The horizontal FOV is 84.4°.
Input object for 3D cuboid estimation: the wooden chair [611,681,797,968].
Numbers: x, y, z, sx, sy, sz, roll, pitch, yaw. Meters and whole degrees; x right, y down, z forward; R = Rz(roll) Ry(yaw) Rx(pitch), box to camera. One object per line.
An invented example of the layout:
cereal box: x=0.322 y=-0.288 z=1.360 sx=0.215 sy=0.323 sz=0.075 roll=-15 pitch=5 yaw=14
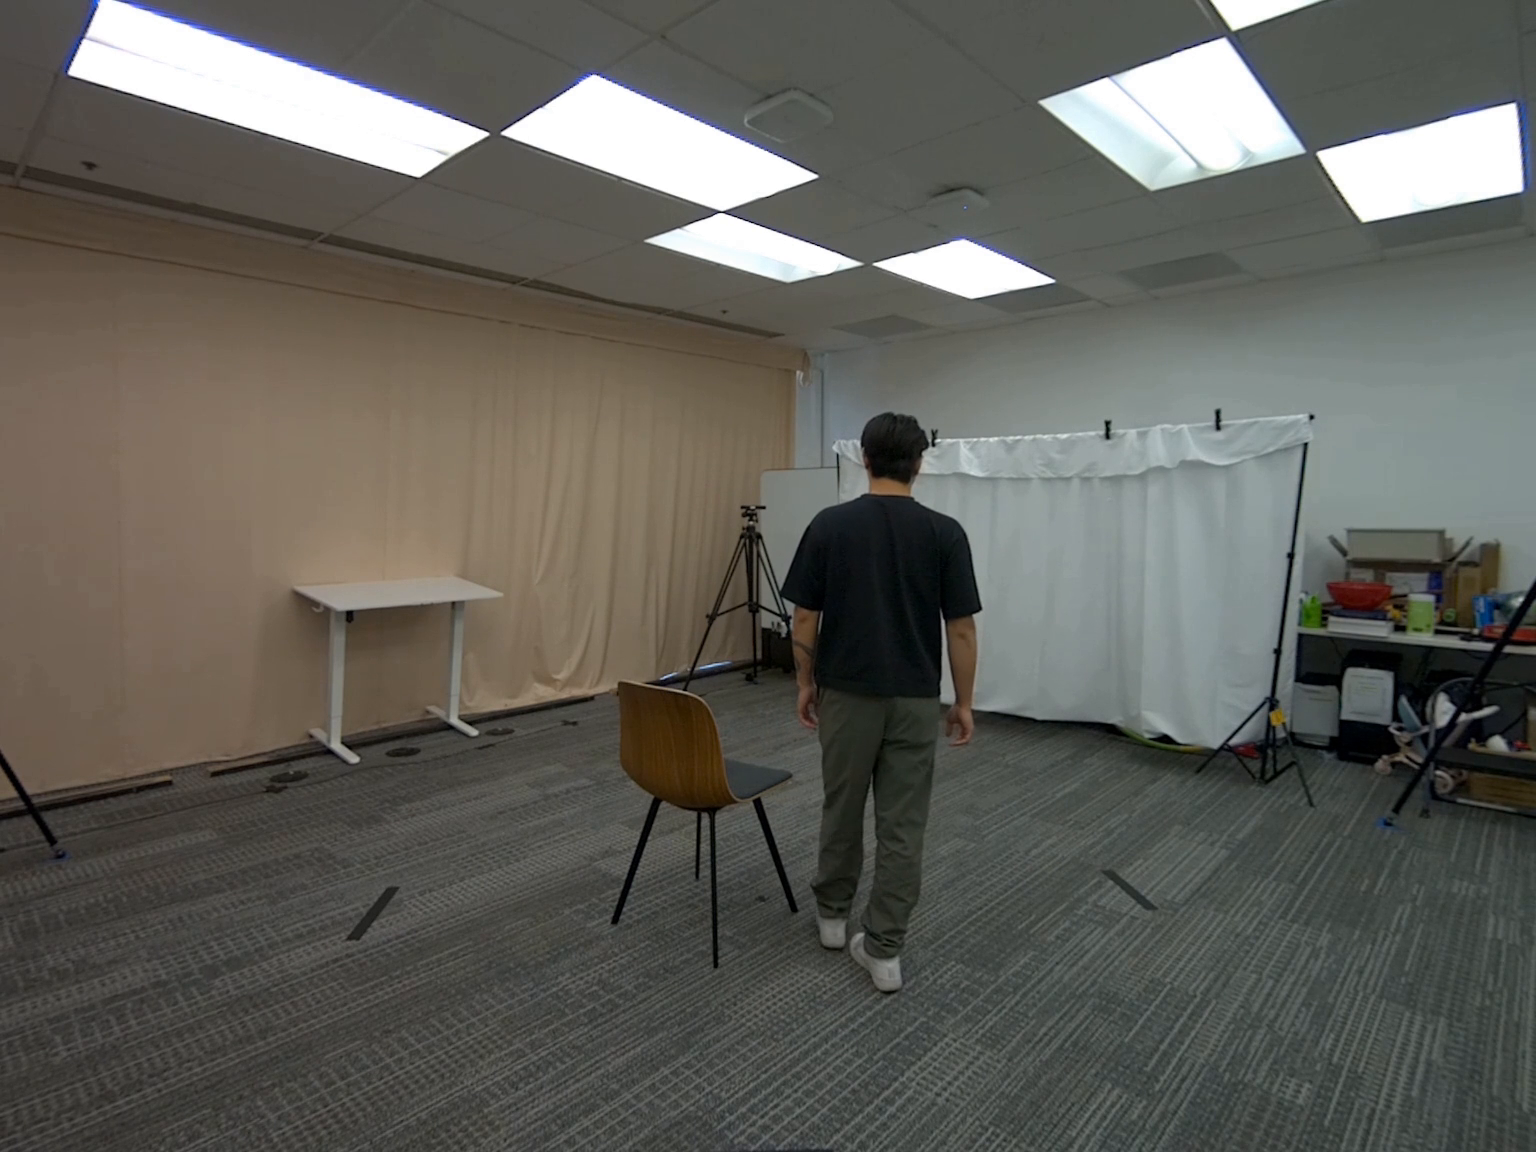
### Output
wooden chair: x=-0.209 y=0.730 z=2.829 sx=0.493 sy=0.873 sz=0.509 roll=2 pitch=8 yaw=37
